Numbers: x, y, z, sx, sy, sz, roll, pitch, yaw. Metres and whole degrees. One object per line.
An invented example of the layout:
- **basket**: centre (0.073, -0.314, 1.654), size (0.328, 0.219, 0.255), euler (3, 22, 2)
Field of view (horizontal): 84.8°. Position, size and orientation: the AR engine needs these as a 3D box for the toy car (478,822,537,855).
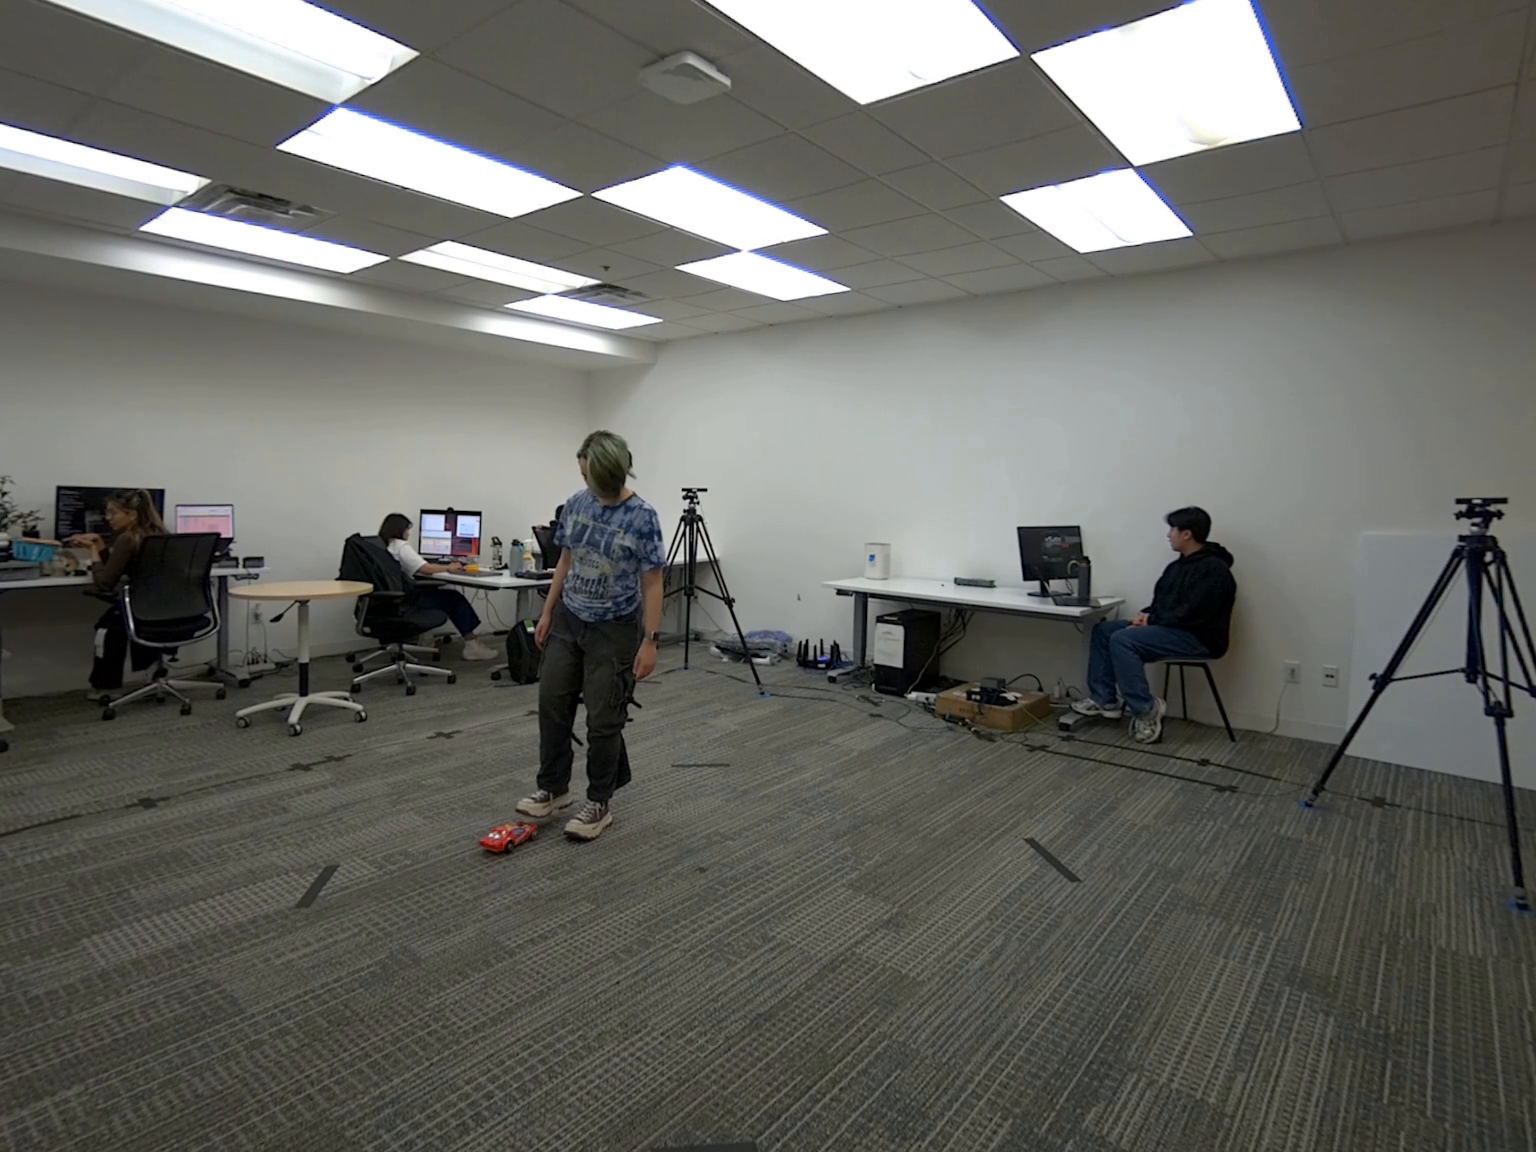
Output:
- **toy car**: centre (-1.018, 1.010, 3.282), size (0.134, 0.084, 0.246), euler (3, -7, 28)
